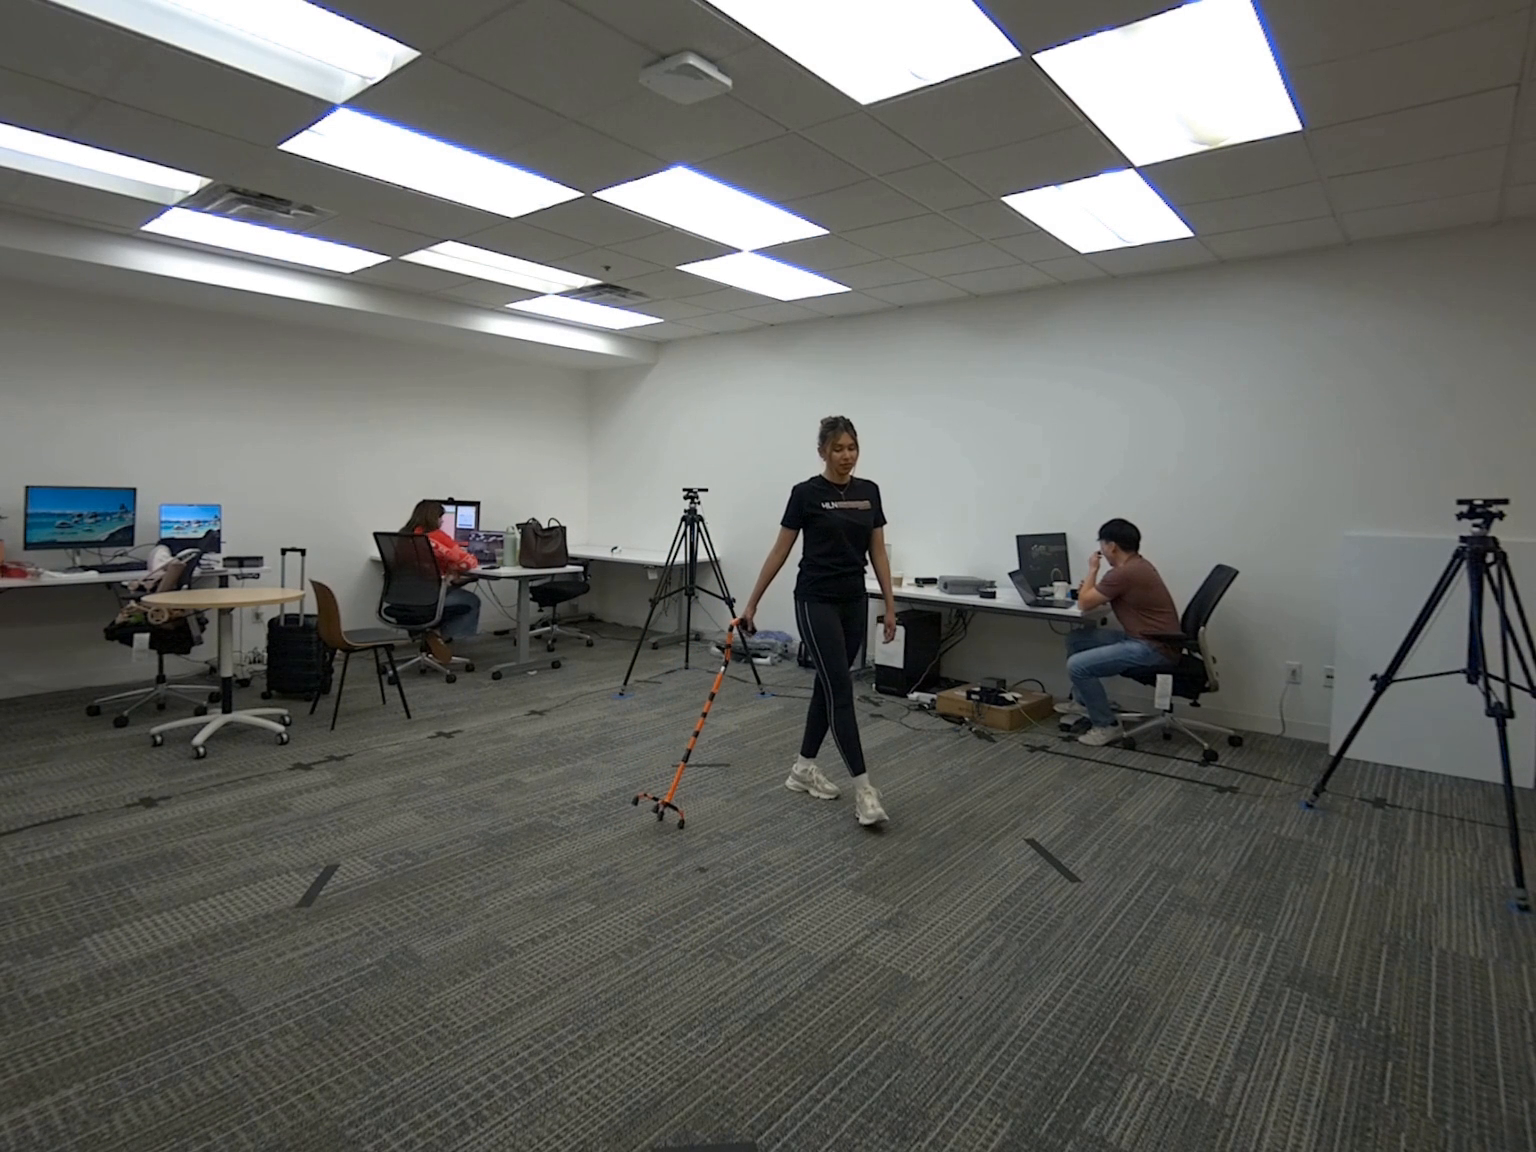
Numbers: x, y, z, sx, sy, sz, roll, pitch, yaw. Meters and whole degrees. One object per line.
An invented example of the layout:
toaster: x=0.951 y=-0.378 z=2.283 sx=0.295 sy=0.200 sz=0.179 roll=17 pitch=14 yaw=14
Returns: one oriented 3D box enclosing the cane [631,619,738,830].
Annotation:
cane: x=-0.300 y=0.590 z=3.627 sx=0.157 sy=0.916 sz=0.198 roll=4 pitch=-27 yaw=40
